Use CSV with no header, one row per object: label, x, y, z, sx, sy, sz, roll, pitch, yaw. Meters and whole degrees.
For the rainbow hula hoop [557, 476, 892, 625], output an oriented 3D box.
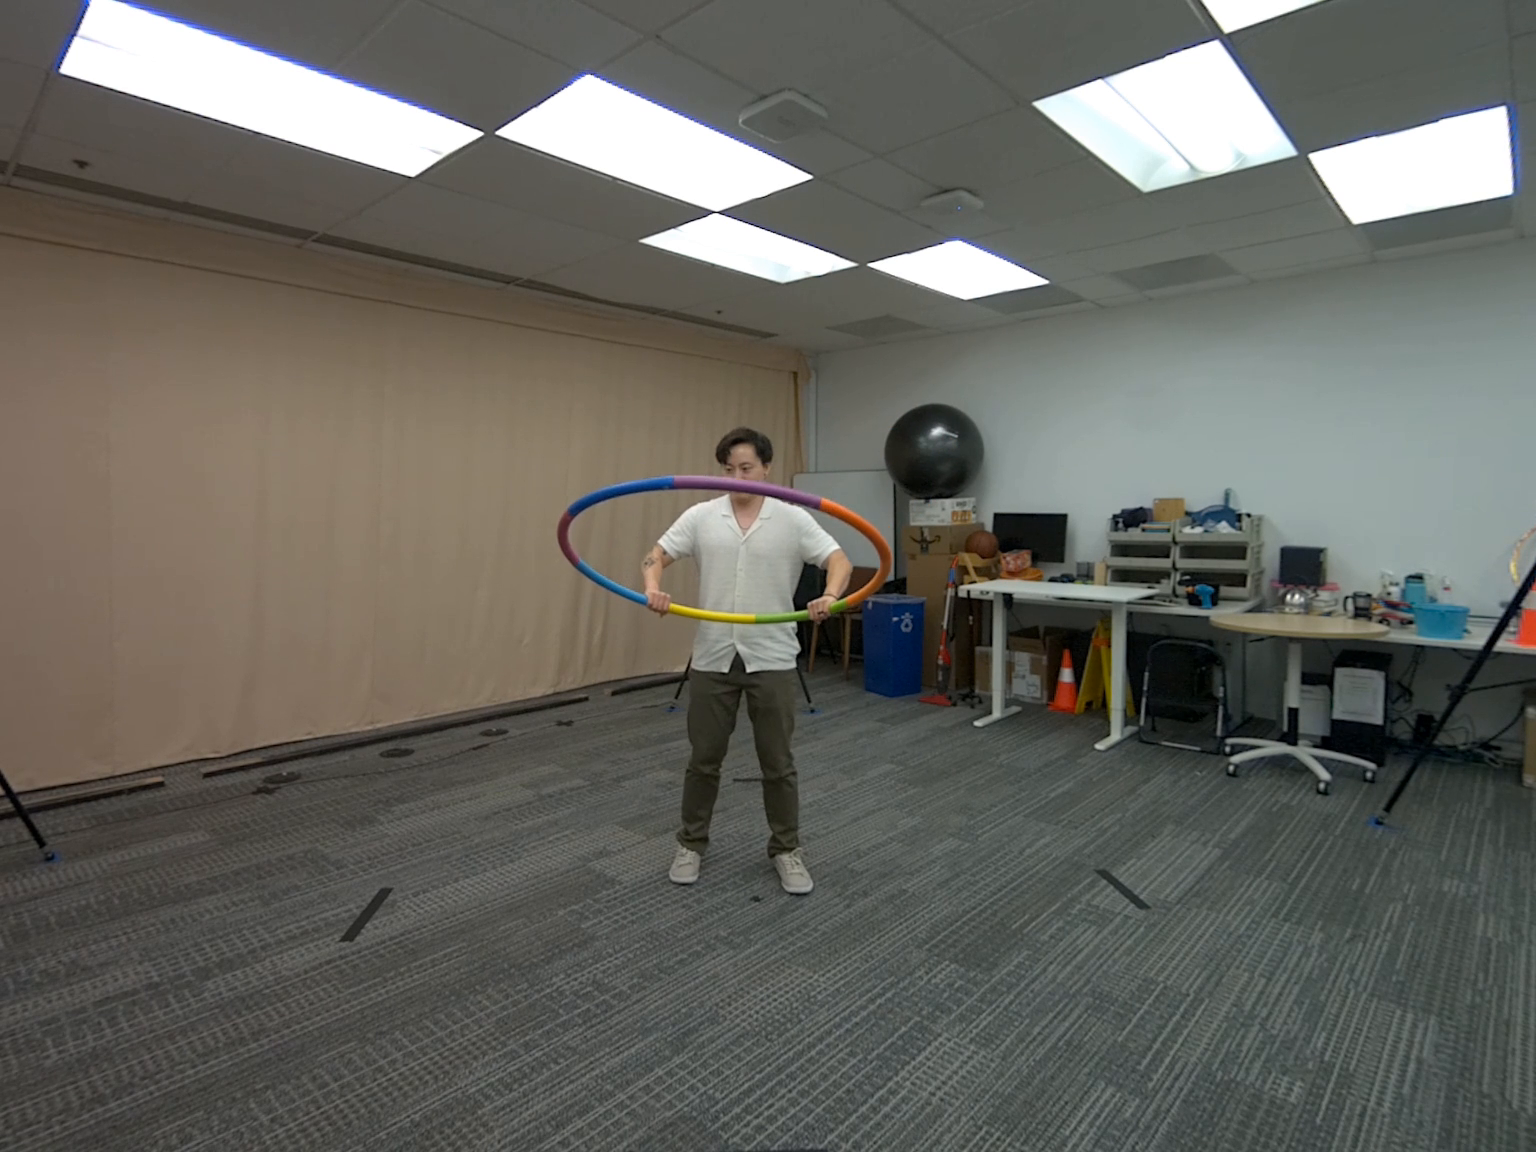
rainbow hula hoop,-0.142,-0.041,2.527,0.981,0.036,0.966,7,-23,1
